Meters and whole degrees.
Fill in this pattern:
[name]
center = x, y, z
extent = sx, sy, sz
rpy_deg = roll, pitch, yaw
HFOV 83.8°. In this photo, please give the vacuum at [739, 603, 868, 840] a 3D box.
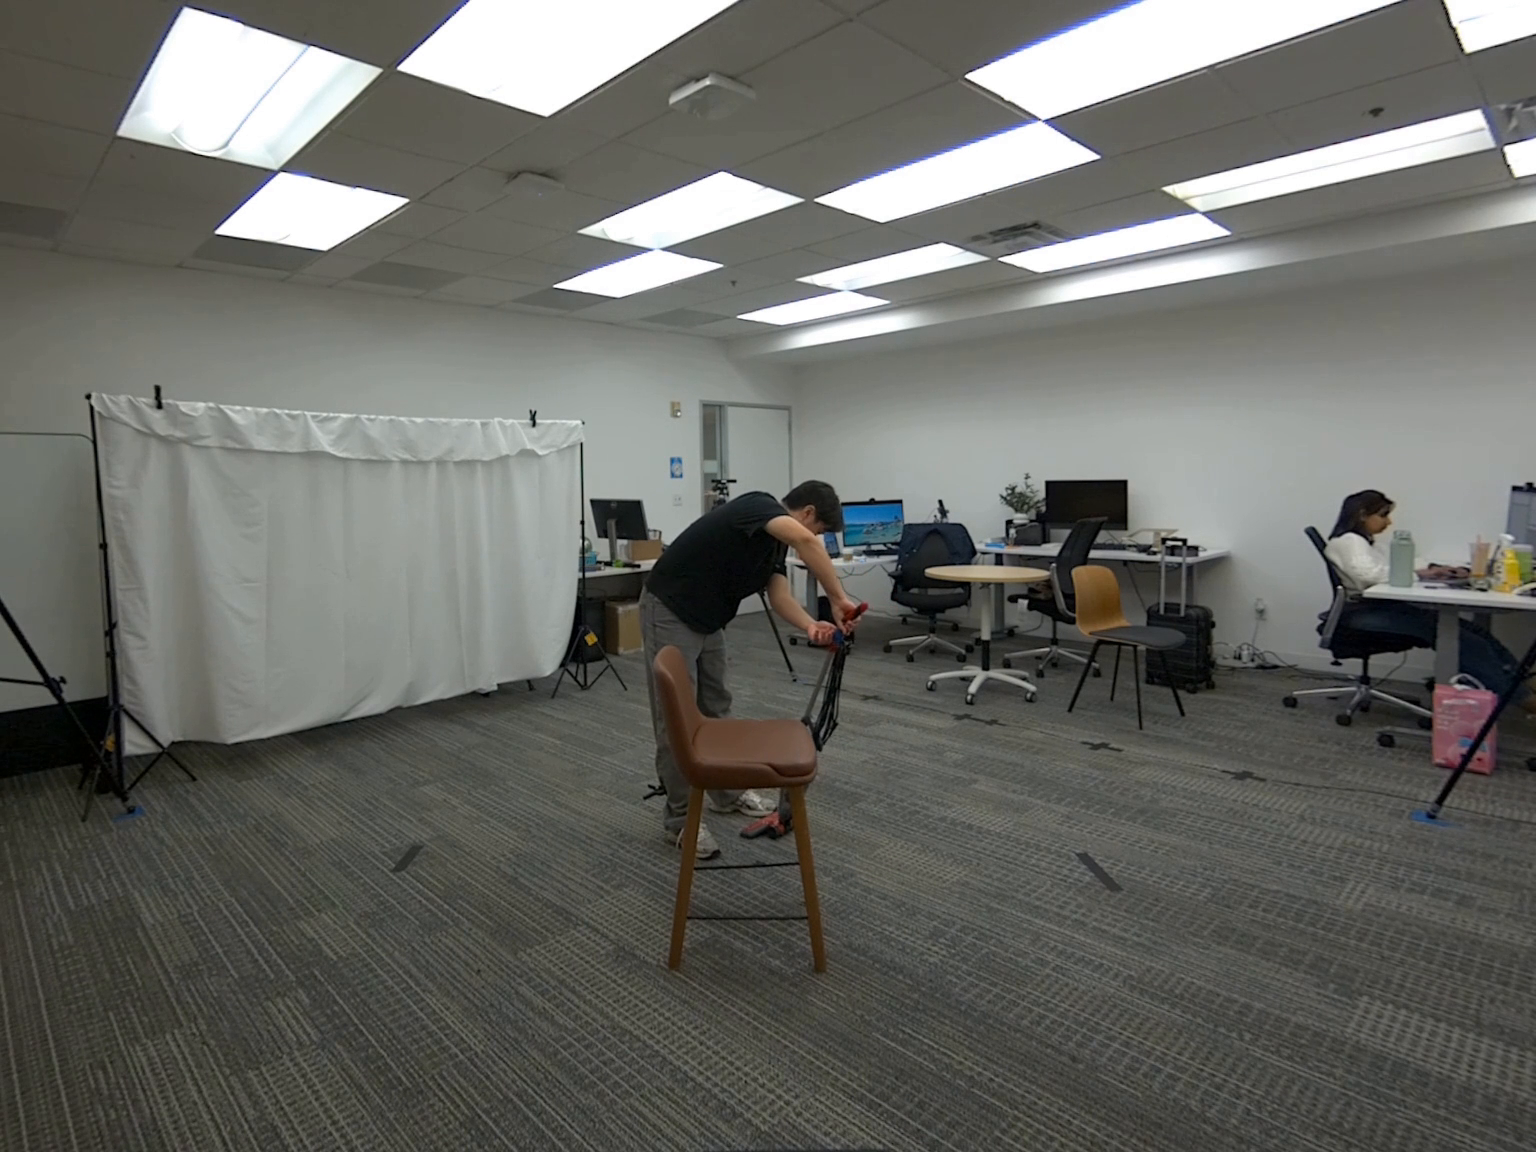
[vacuum]
center = 0.180, 0.563, 3.200
extent = 0.149, 1.038, 0.247
rpy_deg = 33, 25, 27
